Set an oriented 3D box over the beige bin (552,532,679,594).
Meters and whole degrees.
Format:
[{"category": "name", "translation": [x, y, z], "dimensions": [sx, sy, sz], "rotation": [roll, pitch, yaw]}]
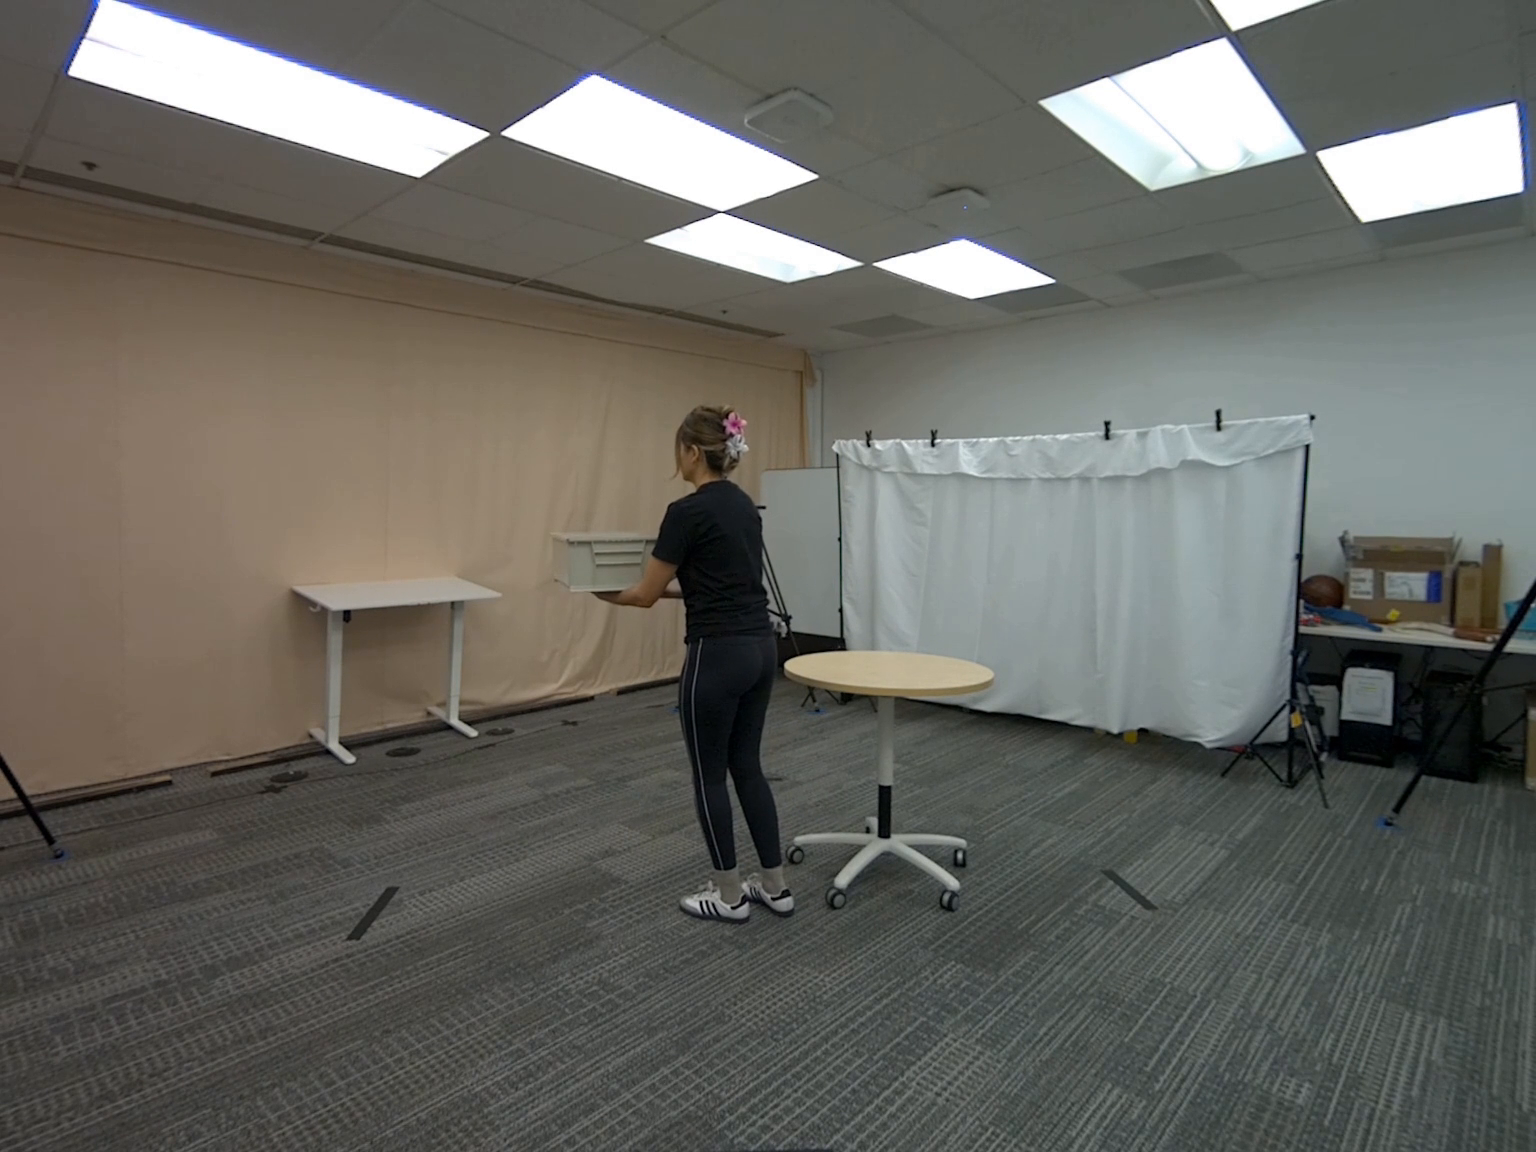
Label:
[{"category": "beige bin", "translation": [-0.546, -0.052, 2.993], "dimensions": [0.370, 0.188, 0.431], "rotation": [-3, 5, -19]}]
